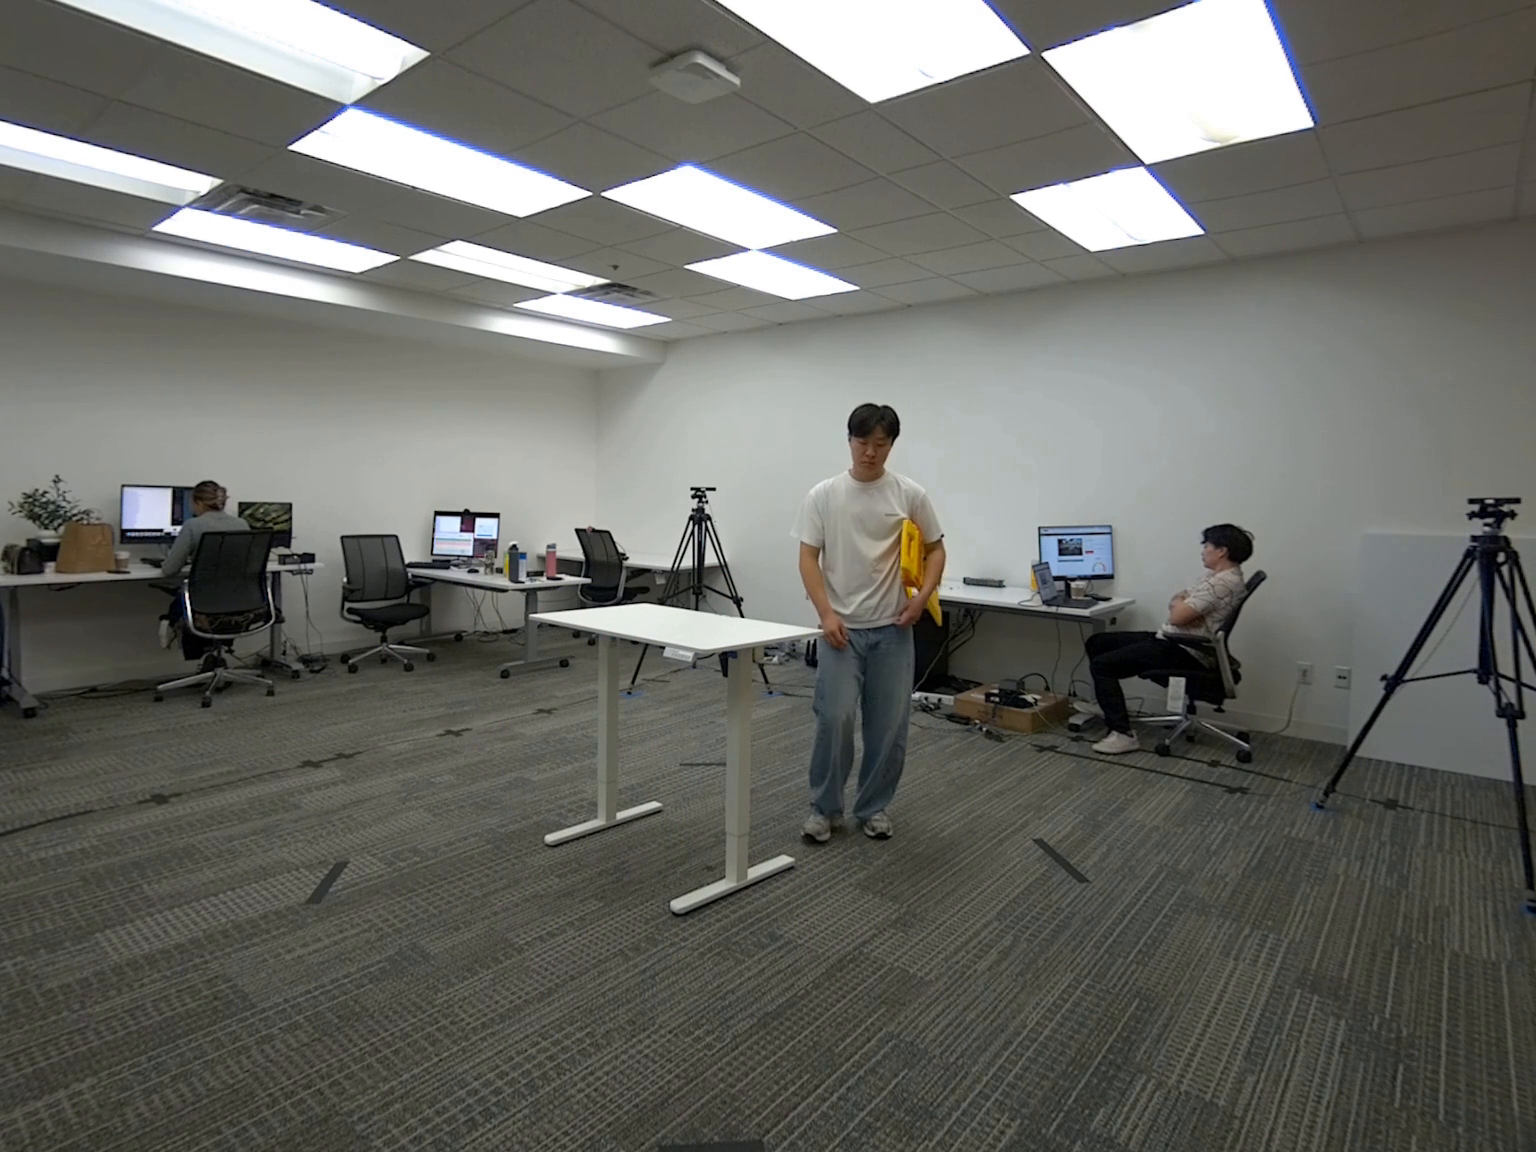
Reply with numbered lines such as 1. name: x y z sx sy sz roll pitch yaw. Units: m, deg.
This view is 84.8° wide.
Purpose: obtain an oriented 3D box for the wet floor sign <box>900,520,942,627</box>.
1. wet floor sign: 0.583 -0.021 3.487 0.294 0.287 0.626 1 -20 12
